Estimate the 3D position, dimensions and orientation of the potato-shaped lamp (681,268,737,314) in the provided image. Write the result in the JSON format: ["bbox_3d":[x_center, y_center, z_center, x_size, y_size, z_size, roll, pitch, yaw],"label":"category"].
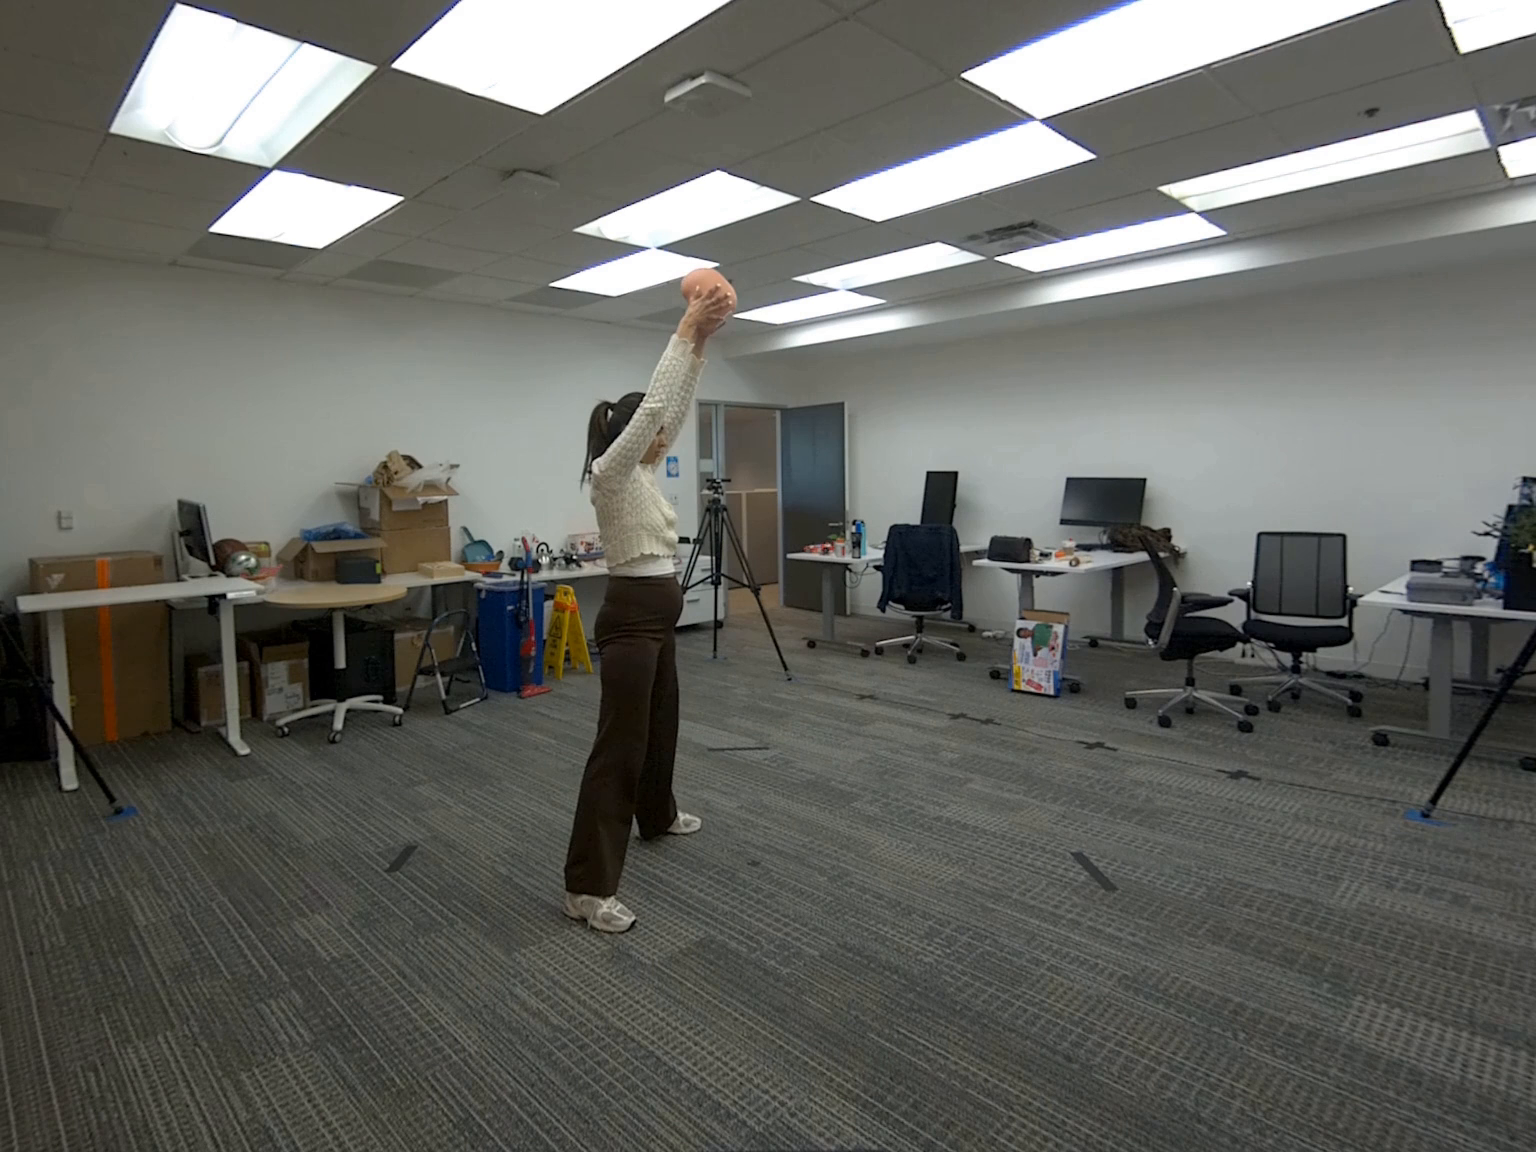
[{"bbox_3d":[-0.207,-0.947,2.887,0.172,0.196,0.166,-40,7,11],"label":"potato-shaped lamp"}]
